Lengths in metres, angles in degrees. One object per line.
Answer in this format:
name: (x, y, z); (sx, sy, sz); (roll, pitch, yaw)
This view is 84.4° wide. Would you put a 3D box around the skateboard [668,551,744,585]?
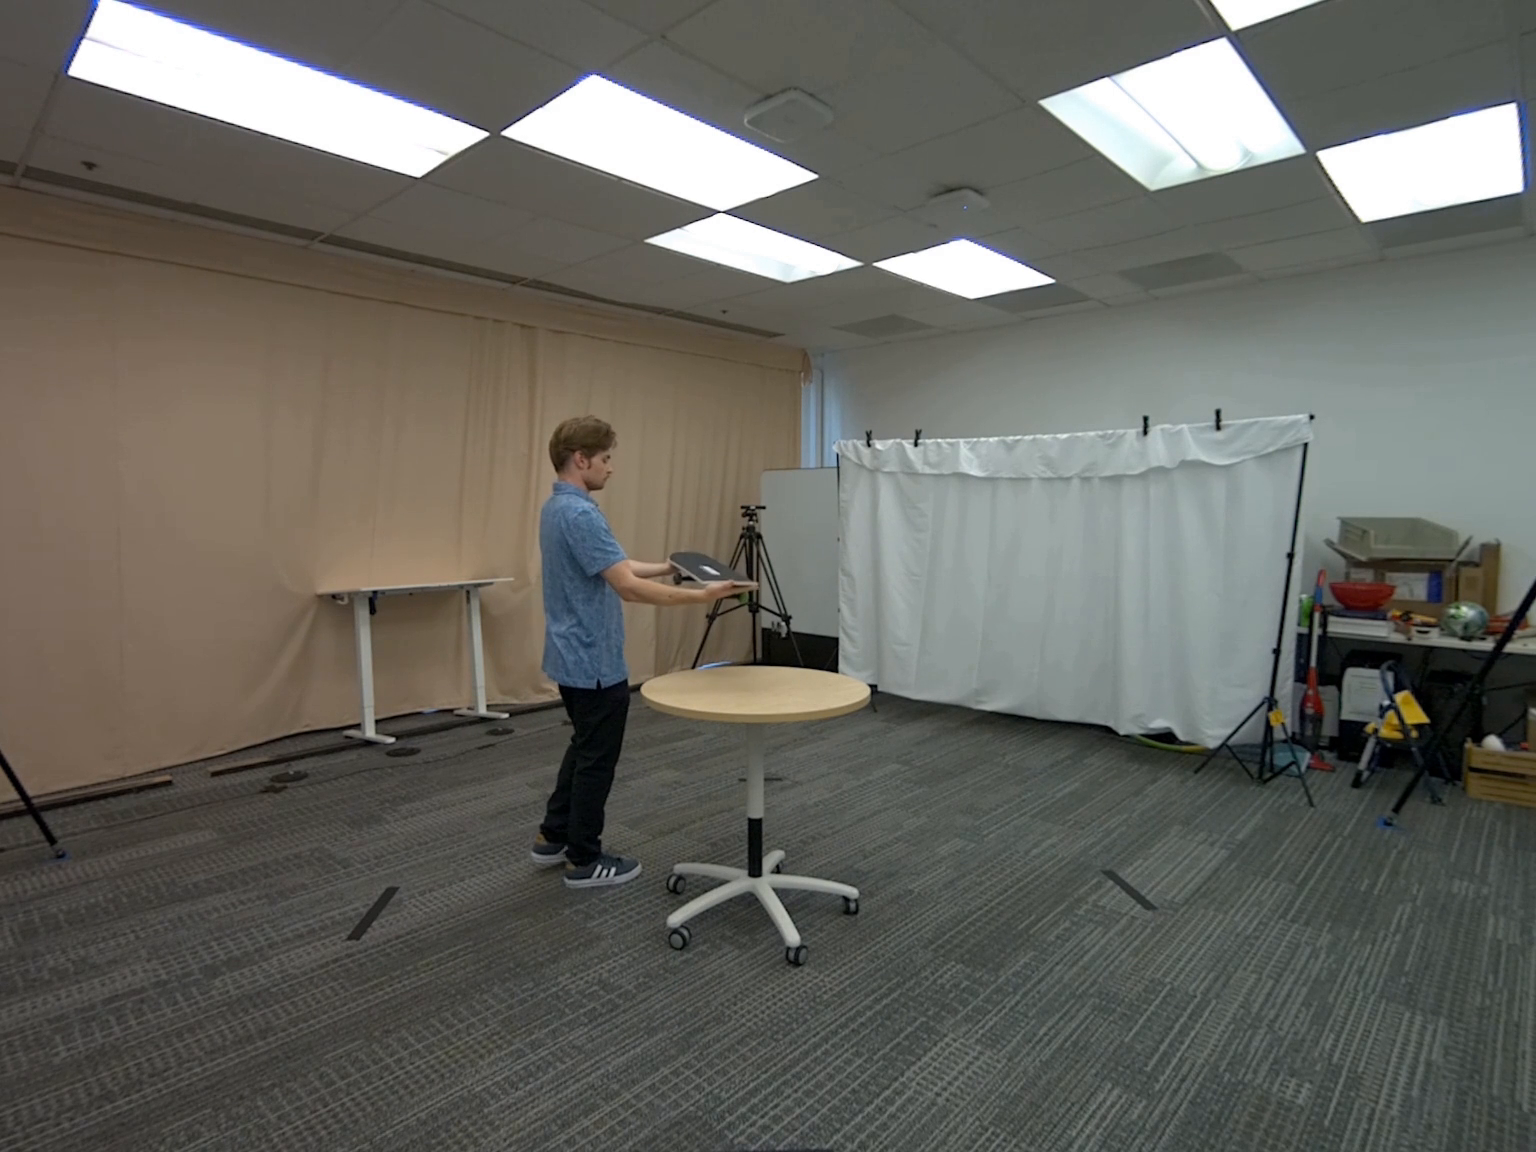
skateboard: (-0.219, 0.021, 3.185); (0.190, 0.110, 0.804); (-2, 10, -19)
